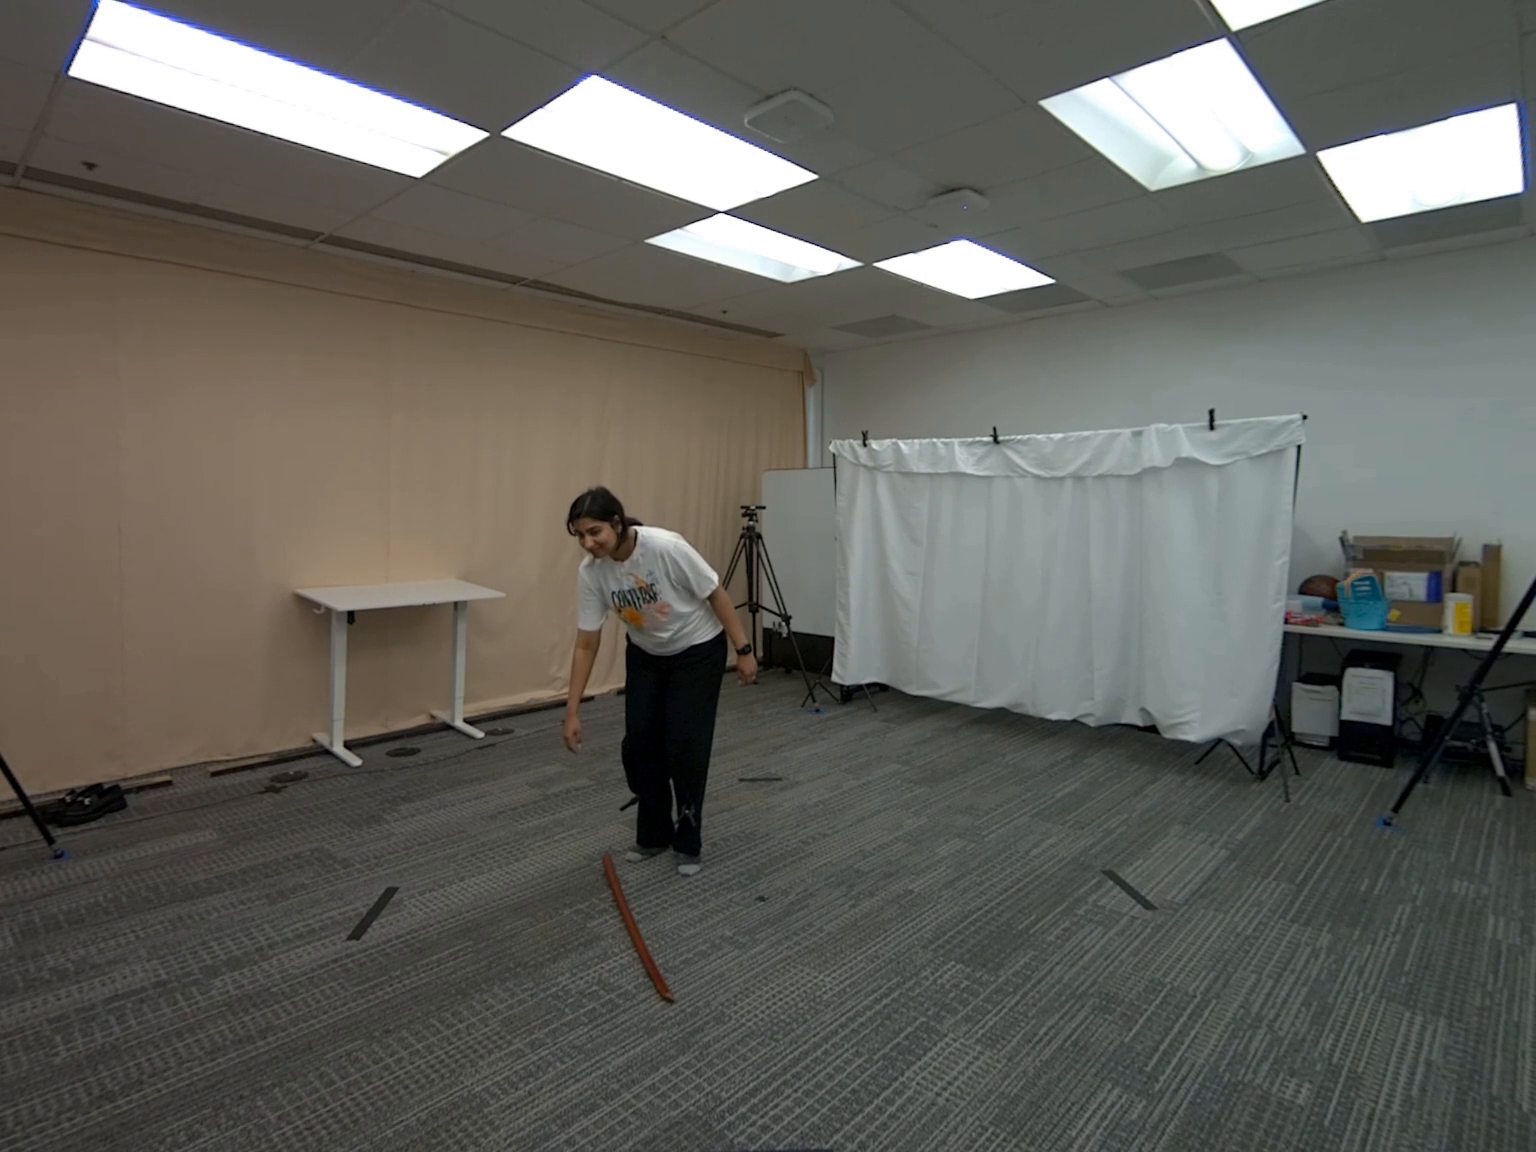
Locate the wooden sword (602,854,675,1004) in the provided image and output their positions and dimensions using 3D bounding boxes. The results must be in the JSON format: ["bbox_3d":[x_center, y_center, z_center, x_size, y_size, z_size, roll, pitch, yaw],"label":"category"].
[{"bbox_3d":[-0.459,1.133,2.836,0.051,0.024,1.047,-41,16,-12],"label":"wooden sword"}]
